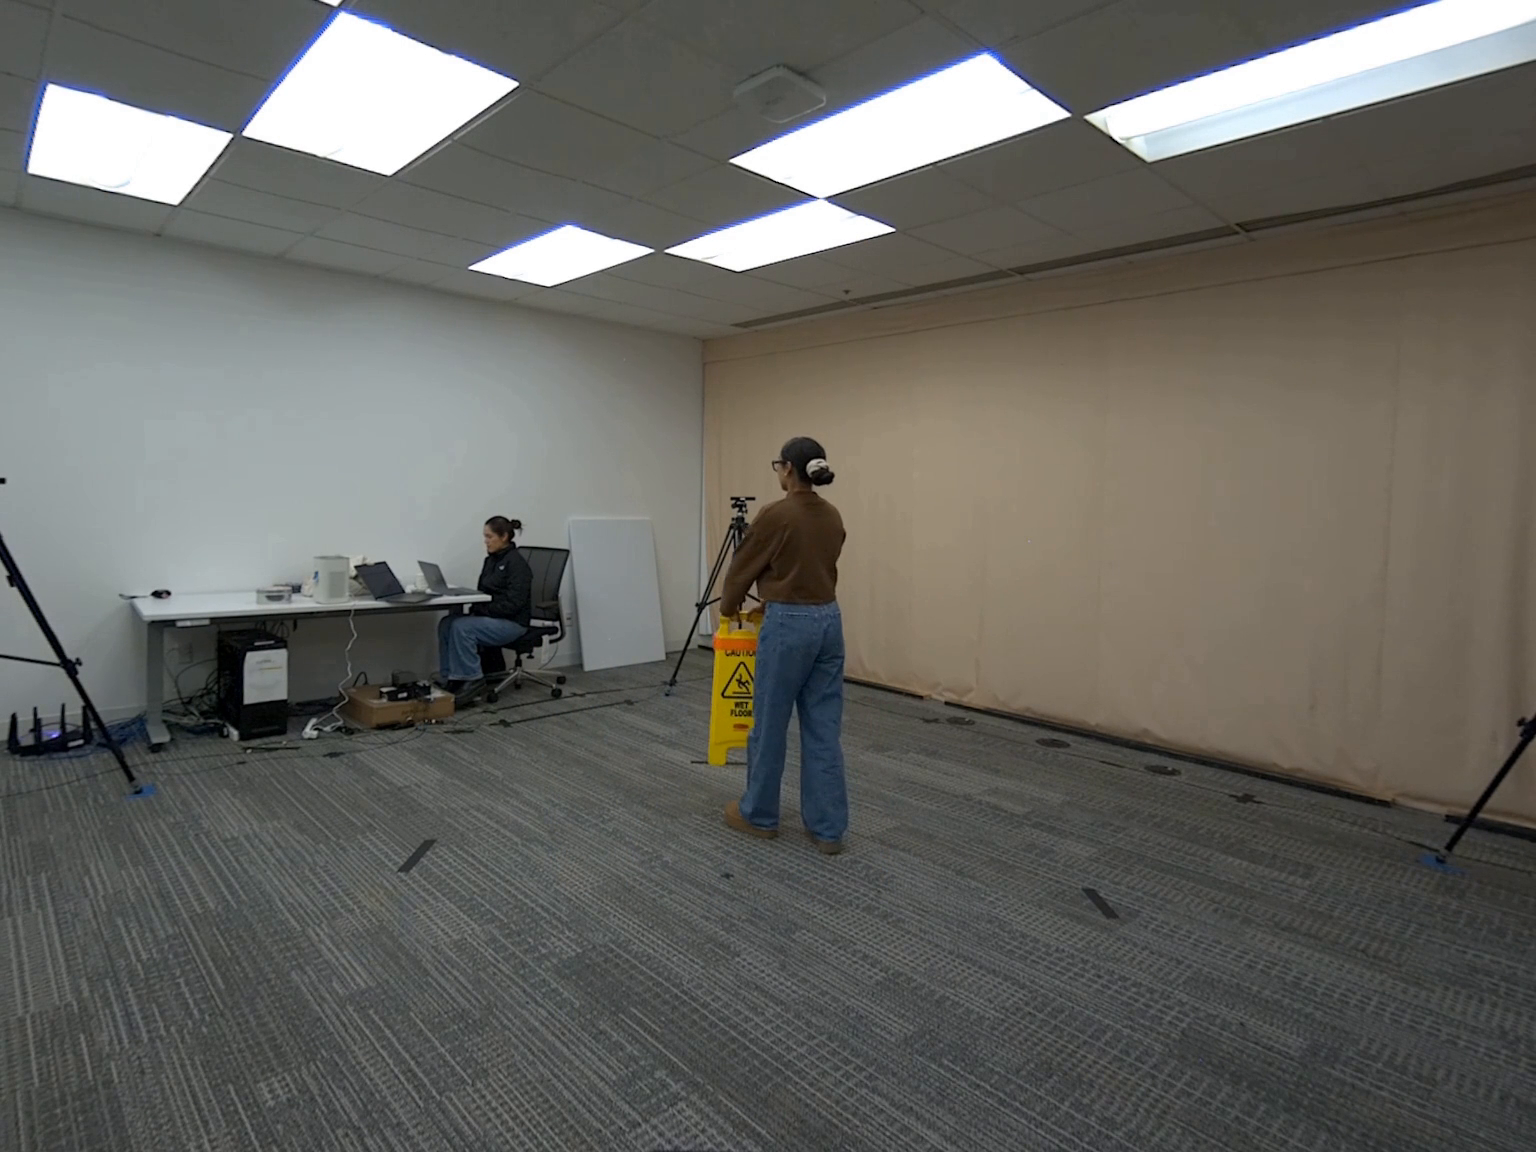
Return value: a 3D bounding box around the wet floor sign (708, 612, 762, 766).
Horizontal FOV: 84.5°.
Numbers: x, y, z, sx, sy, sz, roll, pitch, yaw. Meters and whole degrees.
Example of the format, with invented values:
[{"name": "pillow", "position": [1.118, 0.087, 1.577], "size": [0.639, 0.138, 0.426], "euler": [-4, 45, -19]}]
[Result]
[{"name": "wet floor sign", "position": [-0.130, 0.487, 3.753], "size": [0.282, 0.644, 0.291], "euler": [0, 4, -1]}]
